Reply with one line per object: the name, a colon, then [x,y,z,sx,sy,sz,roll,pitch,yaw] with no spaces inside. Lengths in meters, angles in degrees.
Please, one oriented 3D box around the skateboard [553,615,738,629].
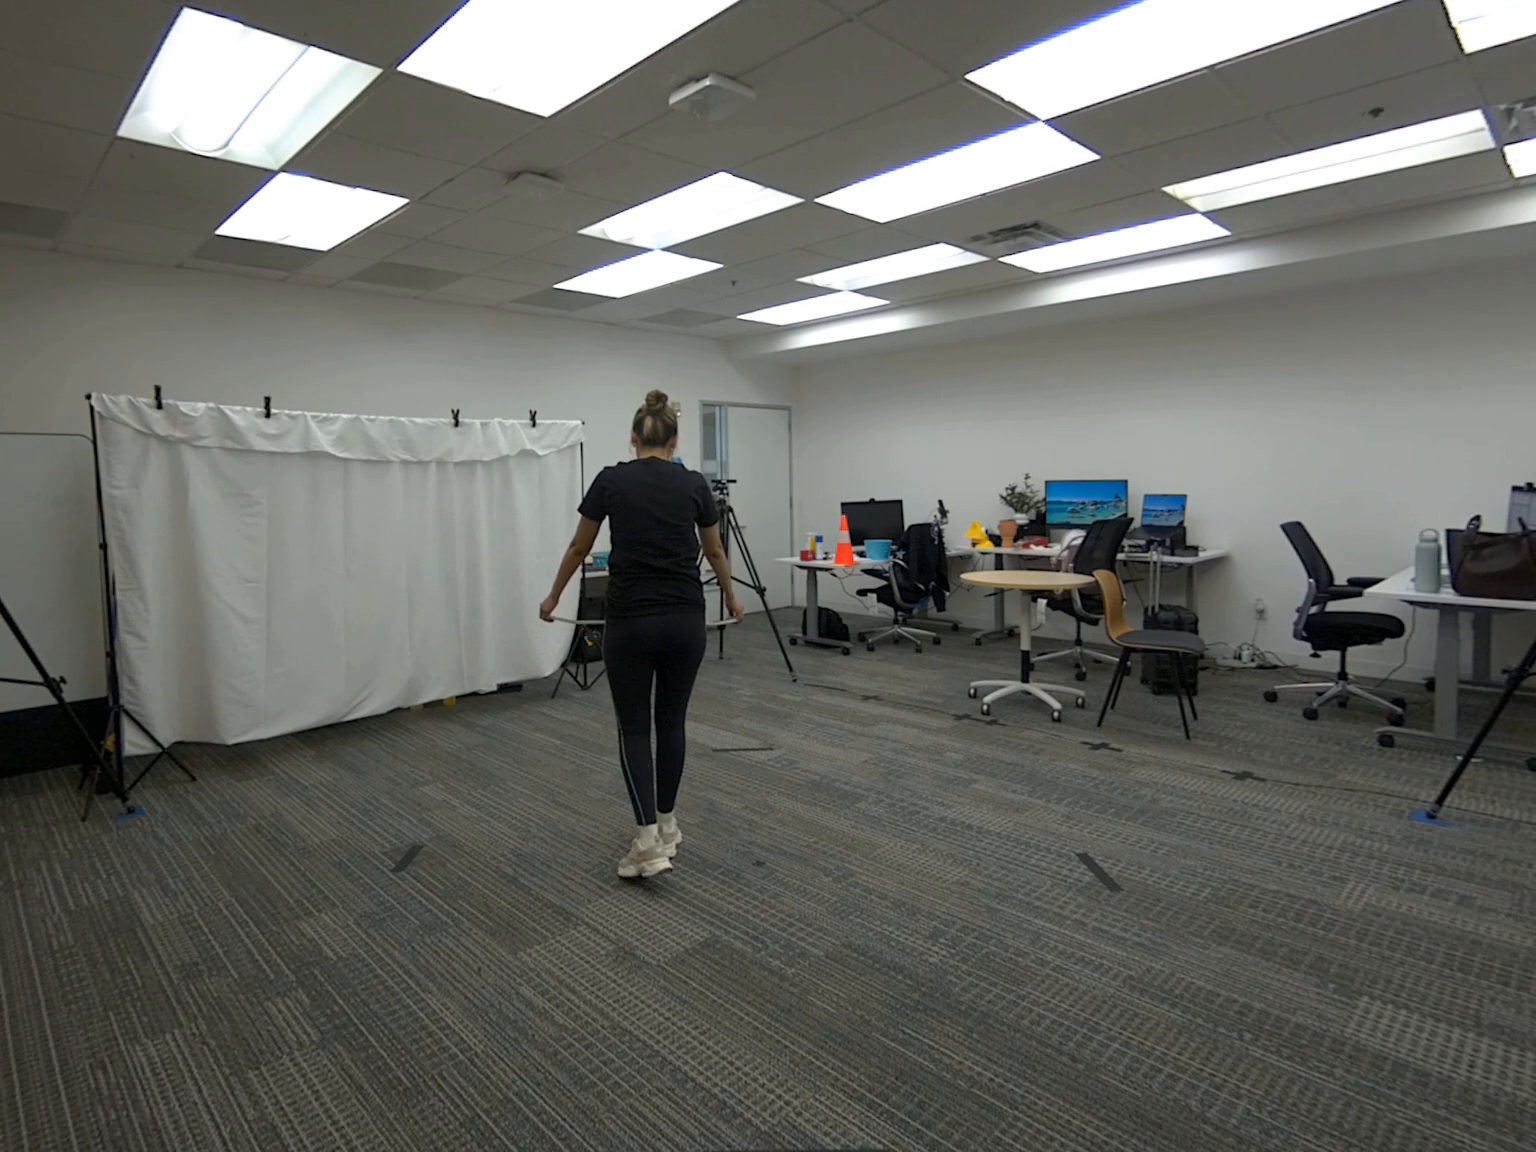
skateboard: [-0.503,0.225,3.472,0.776,0.111,0.195,1,-4,-12]
